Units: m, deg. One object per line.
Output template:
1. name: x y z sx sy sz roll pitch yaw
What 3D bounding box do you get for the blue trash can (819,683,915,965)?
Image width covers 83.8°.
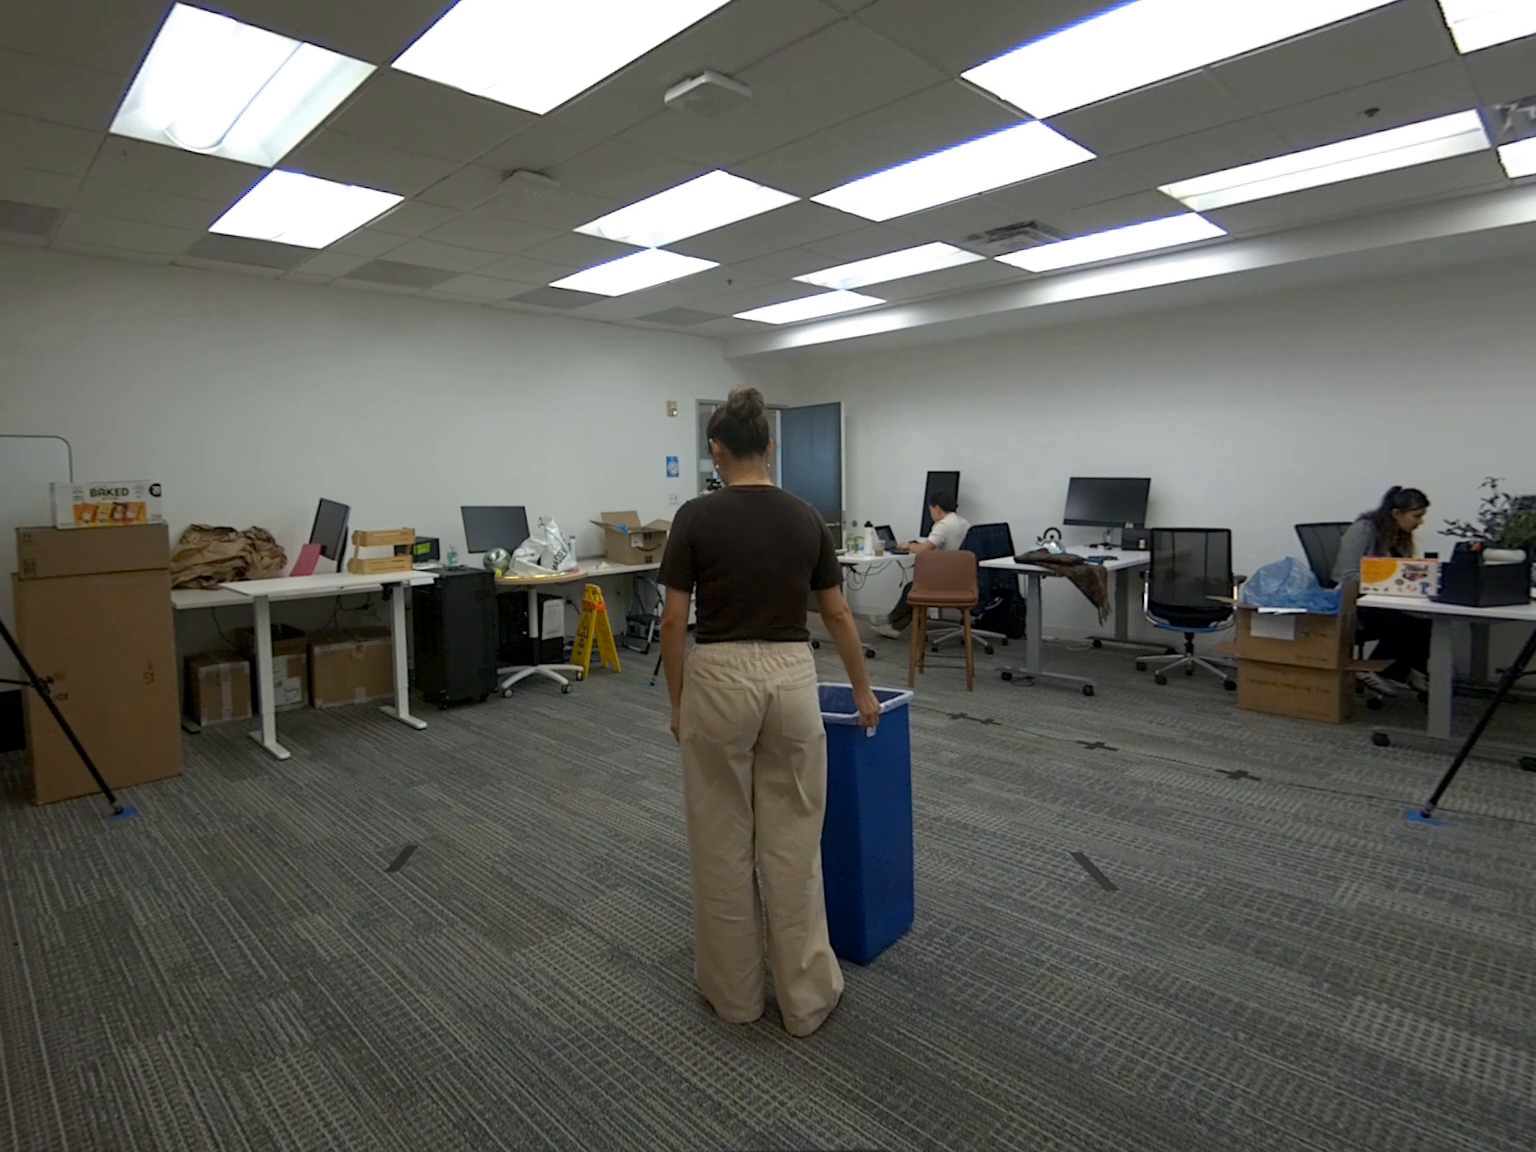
1. blue trash can: 0.225 0.731 2.628 0.384 0.712 0.368 -1 2 39
